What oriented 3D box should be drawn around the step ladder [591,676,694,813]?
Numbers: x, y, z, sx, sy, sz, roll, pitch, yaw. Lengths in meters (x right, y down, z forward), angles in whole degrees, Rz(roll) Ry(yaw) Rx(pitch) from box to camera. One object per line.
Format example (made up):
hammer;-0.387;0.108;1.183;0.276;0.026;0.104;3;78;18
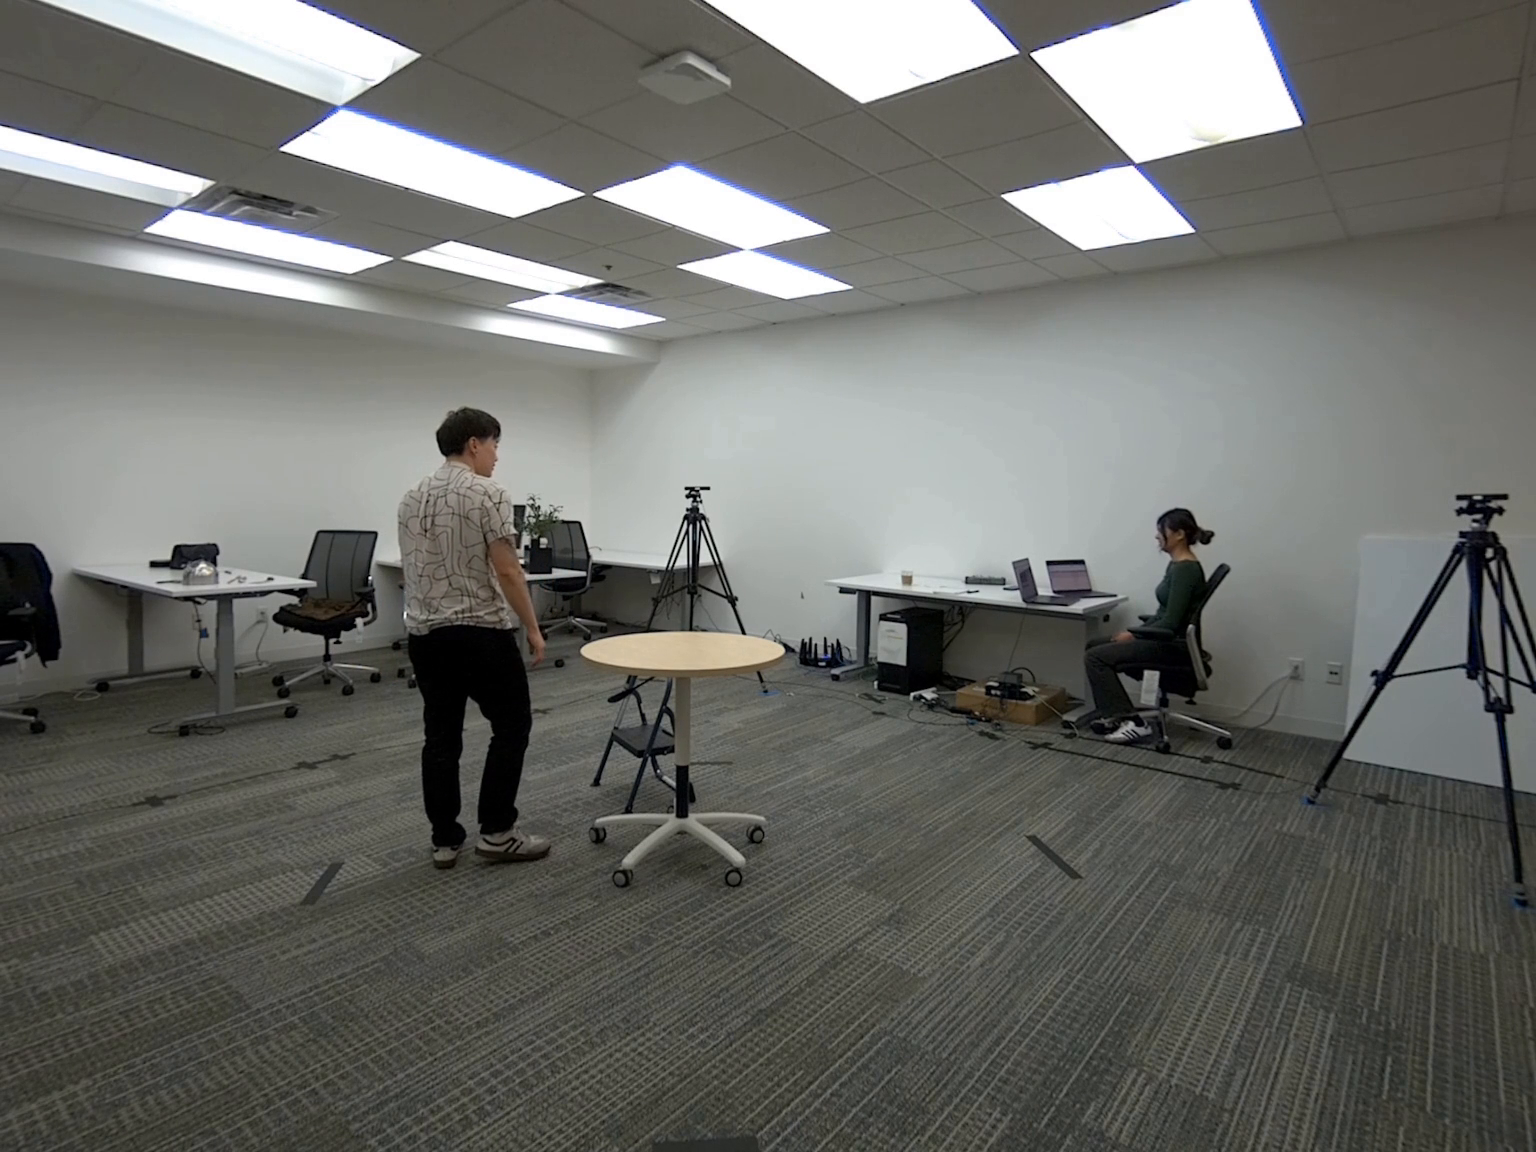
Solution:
step ladder;-0.577;0.687;3.848;0.340;0.604;0.443;-1;3;-31
